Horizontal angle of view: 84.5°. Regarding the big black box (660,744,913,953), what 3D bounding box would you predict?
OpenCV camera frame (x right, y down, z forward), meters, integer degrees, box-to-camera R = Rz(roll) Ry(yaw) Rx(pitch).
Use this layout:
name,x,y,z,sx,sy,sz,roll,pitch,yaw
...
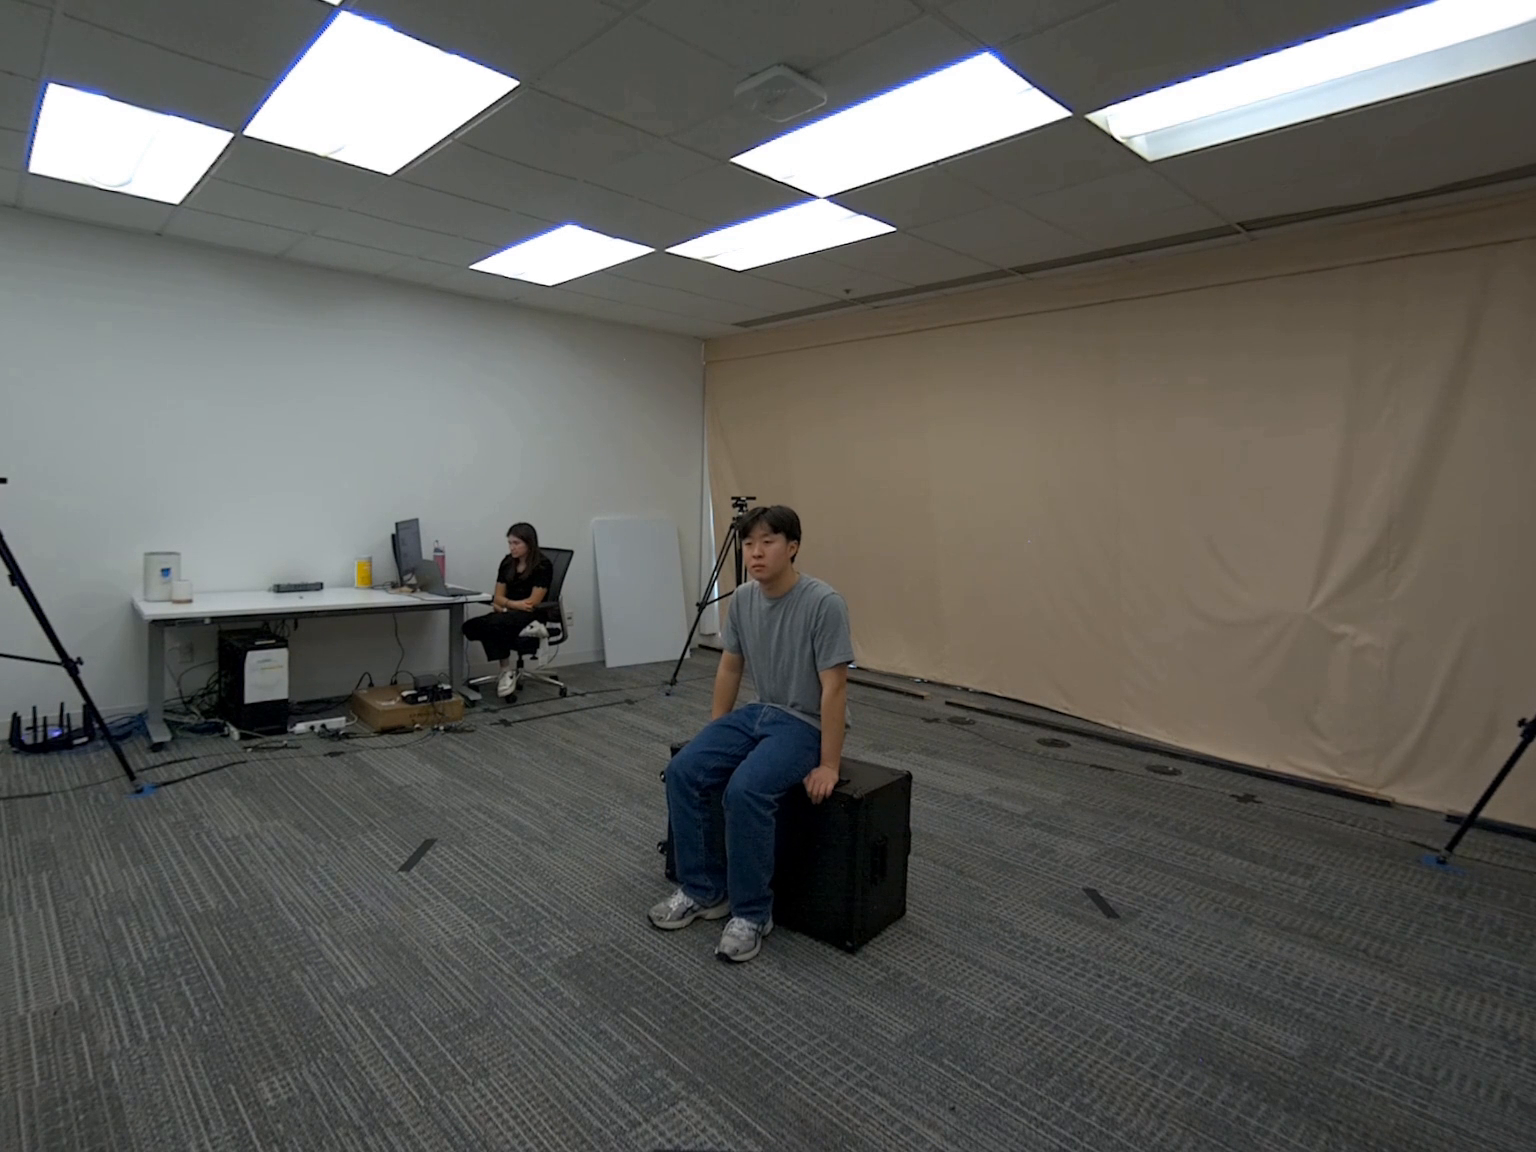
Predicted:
name,x,y,z,sx,sy,sz,roll,pitch,yaw
big black box,0.033,0.869,2.967,0.882,0.520,0.387,5,3,37
